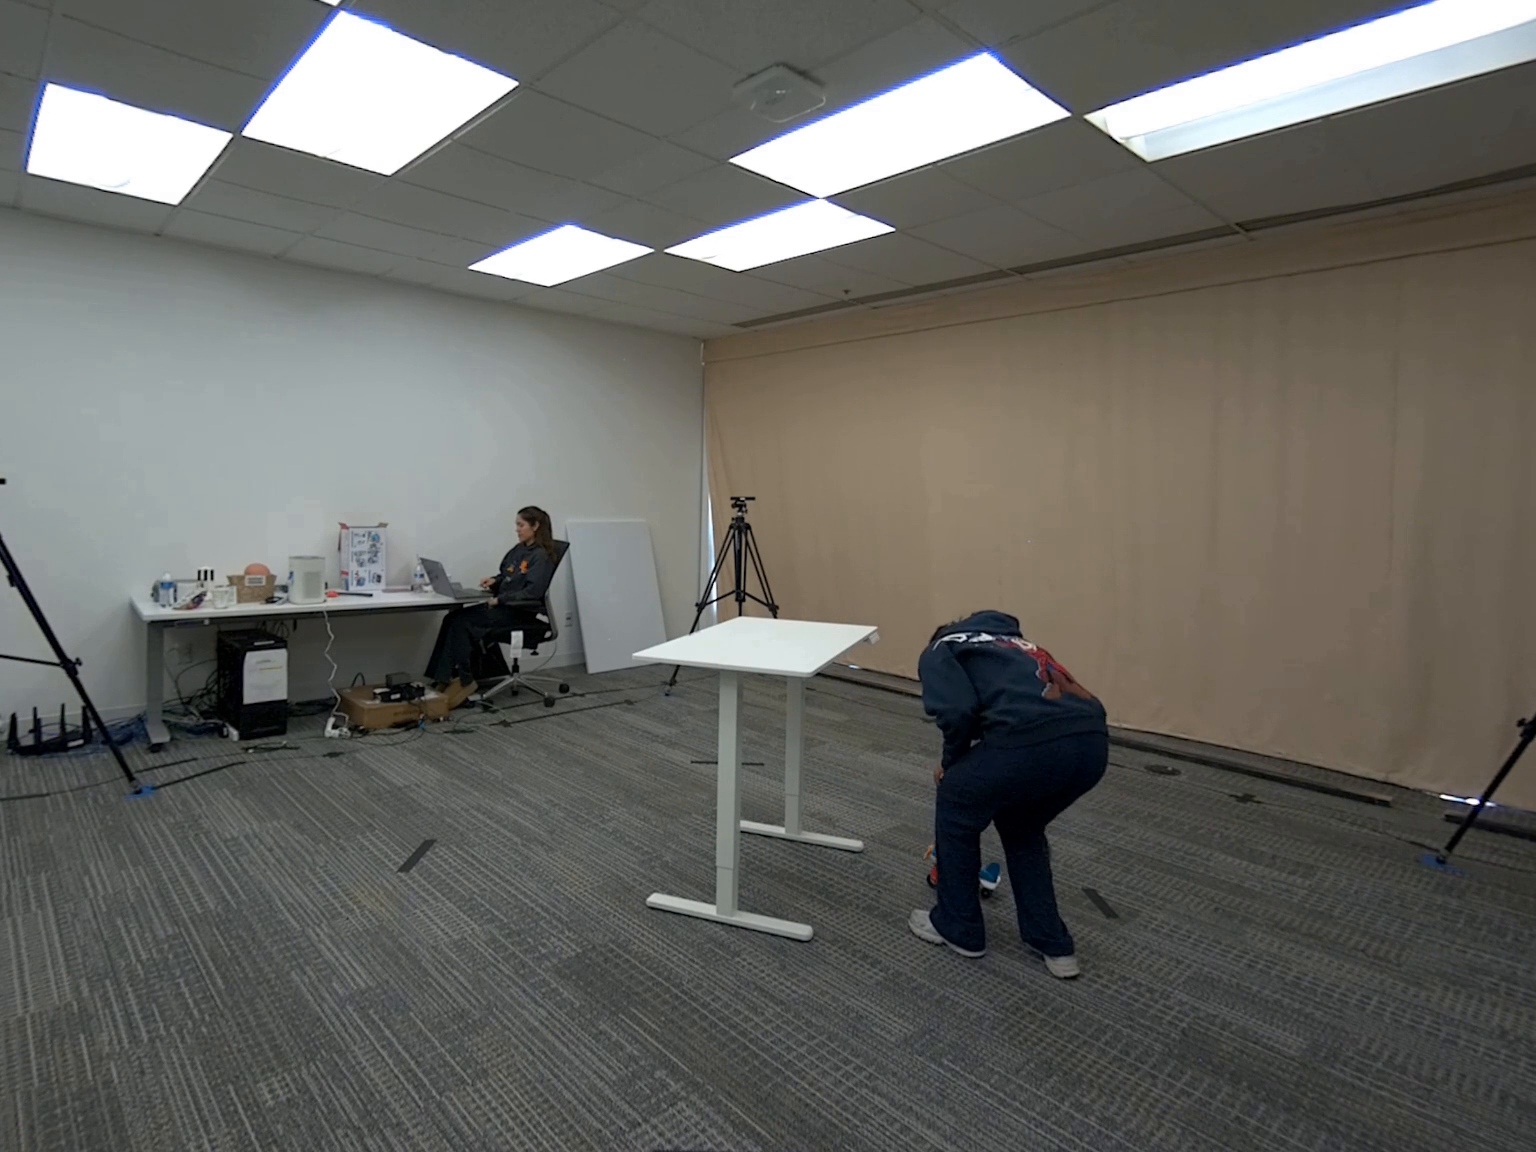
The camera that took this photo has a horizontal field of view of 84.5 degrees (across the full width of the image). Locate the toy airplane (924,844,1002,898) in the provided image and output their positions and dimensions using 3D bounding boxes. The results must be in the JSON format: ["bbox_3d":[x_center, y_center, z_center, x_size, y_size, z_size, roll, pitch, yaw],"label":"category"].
[{"bbox_3d":[0.706,1.060,3.082,0.259,0.156,0.252,1,5,-1],"label":"toy airplane"}]
